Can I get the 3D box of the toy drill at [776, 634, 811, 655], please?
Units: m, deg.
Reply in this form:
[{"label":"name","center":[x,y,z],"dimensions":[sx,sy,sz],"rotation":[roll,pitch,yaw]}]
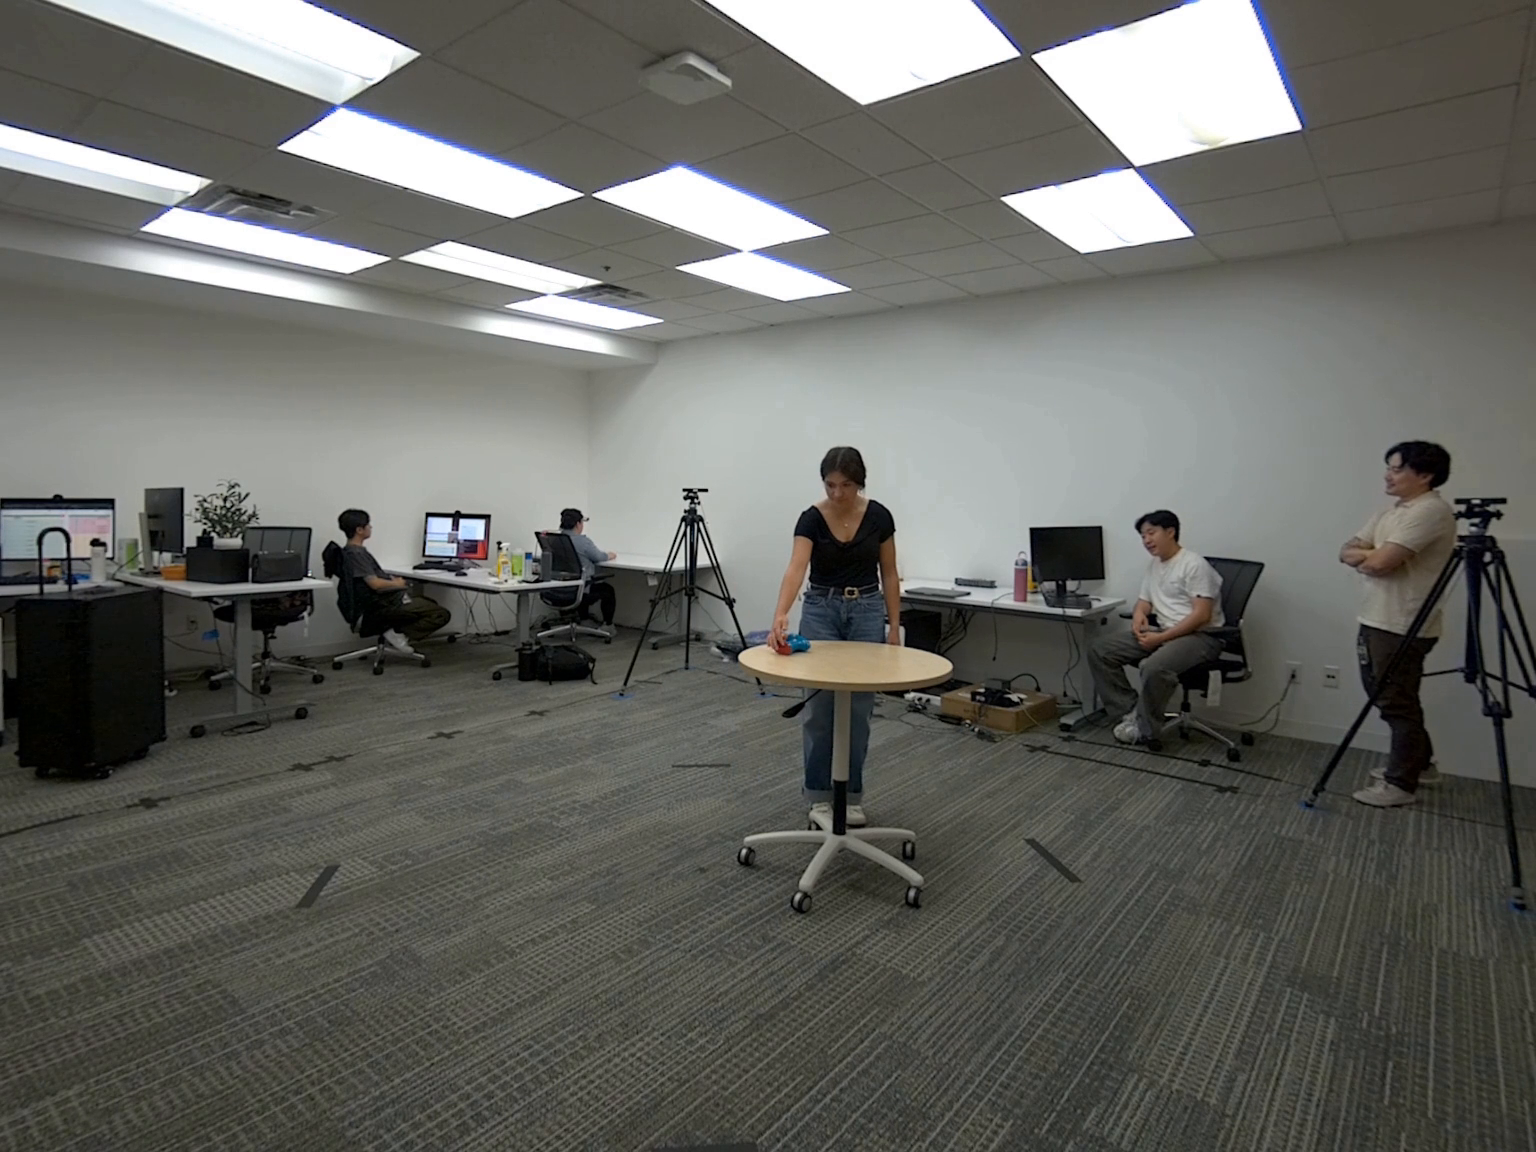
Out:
[{"label":"toy drill","center":[0.074,0.246,3.236],"dimensions":[0.142,0.060,0.176],"rotation":[-6,16,-44]}]
